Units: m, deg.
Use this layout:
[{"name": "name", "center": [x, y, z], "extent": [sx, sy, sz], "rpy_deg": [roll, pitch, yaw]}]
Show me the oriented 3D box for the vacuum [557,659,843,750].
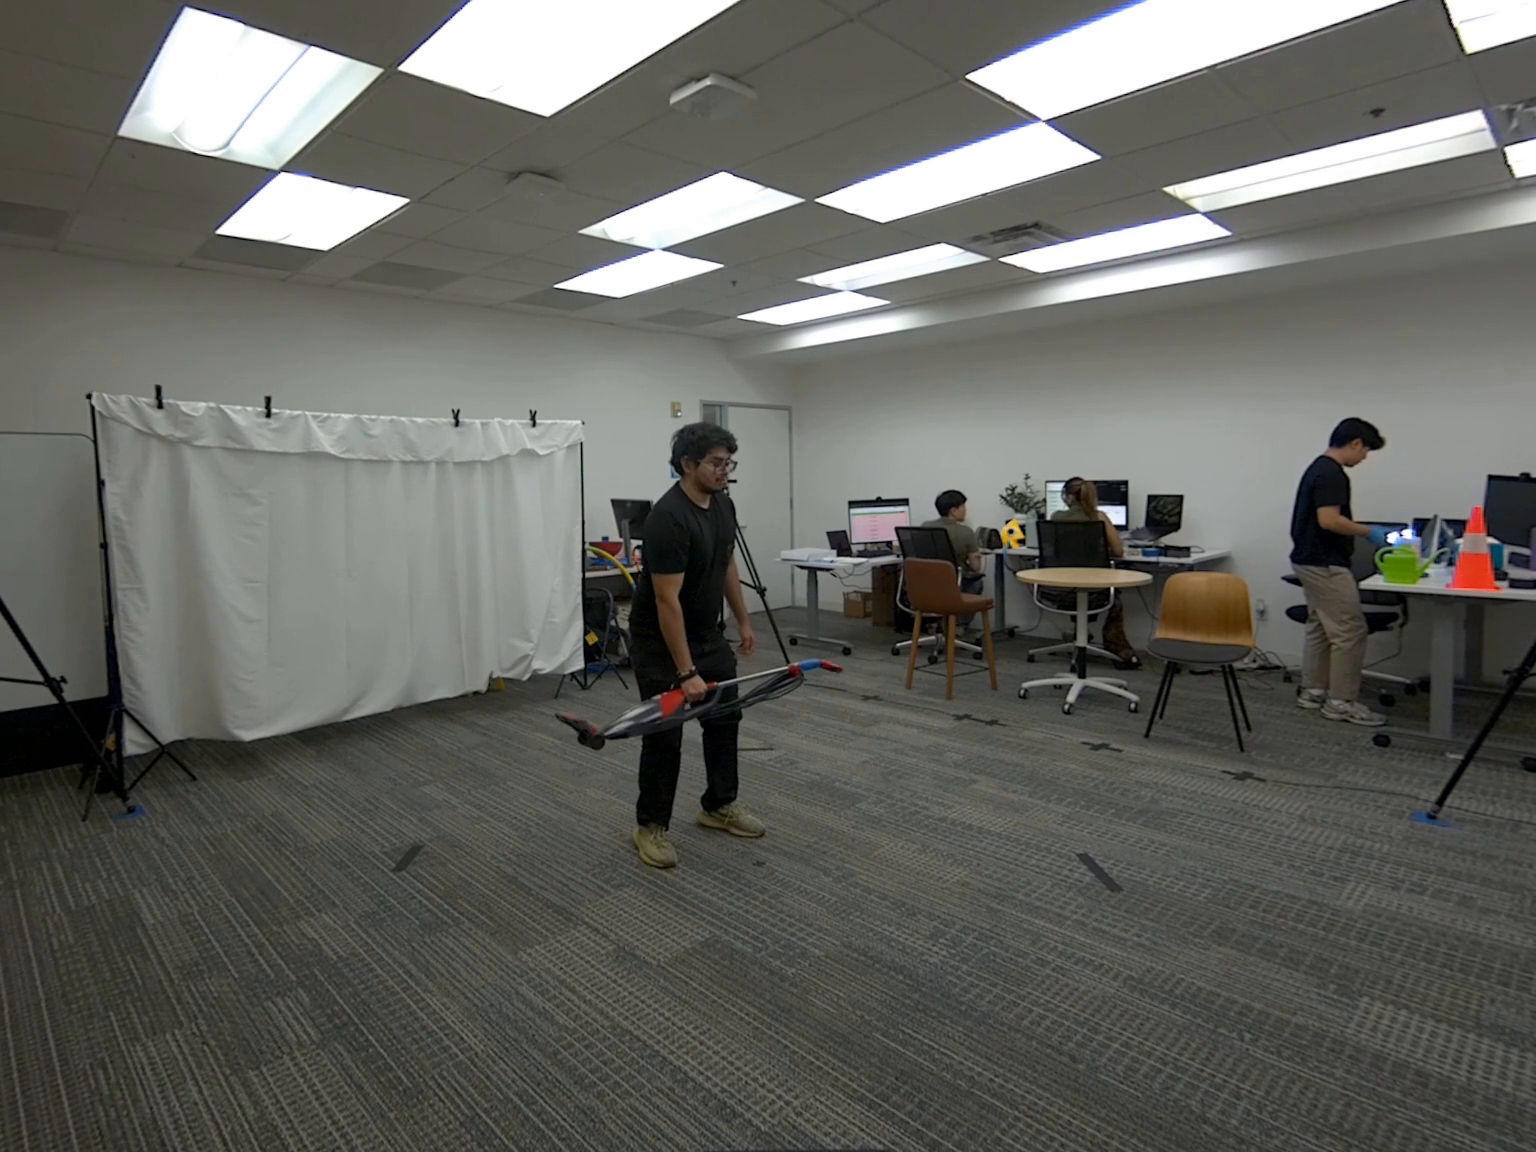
[{"name": "vacuum", "center": [-0.162, 0.438, 3.017], "extent": [1.028, 0.144, 0.257], "rpy_deg": [-9, 0, -27]}]
